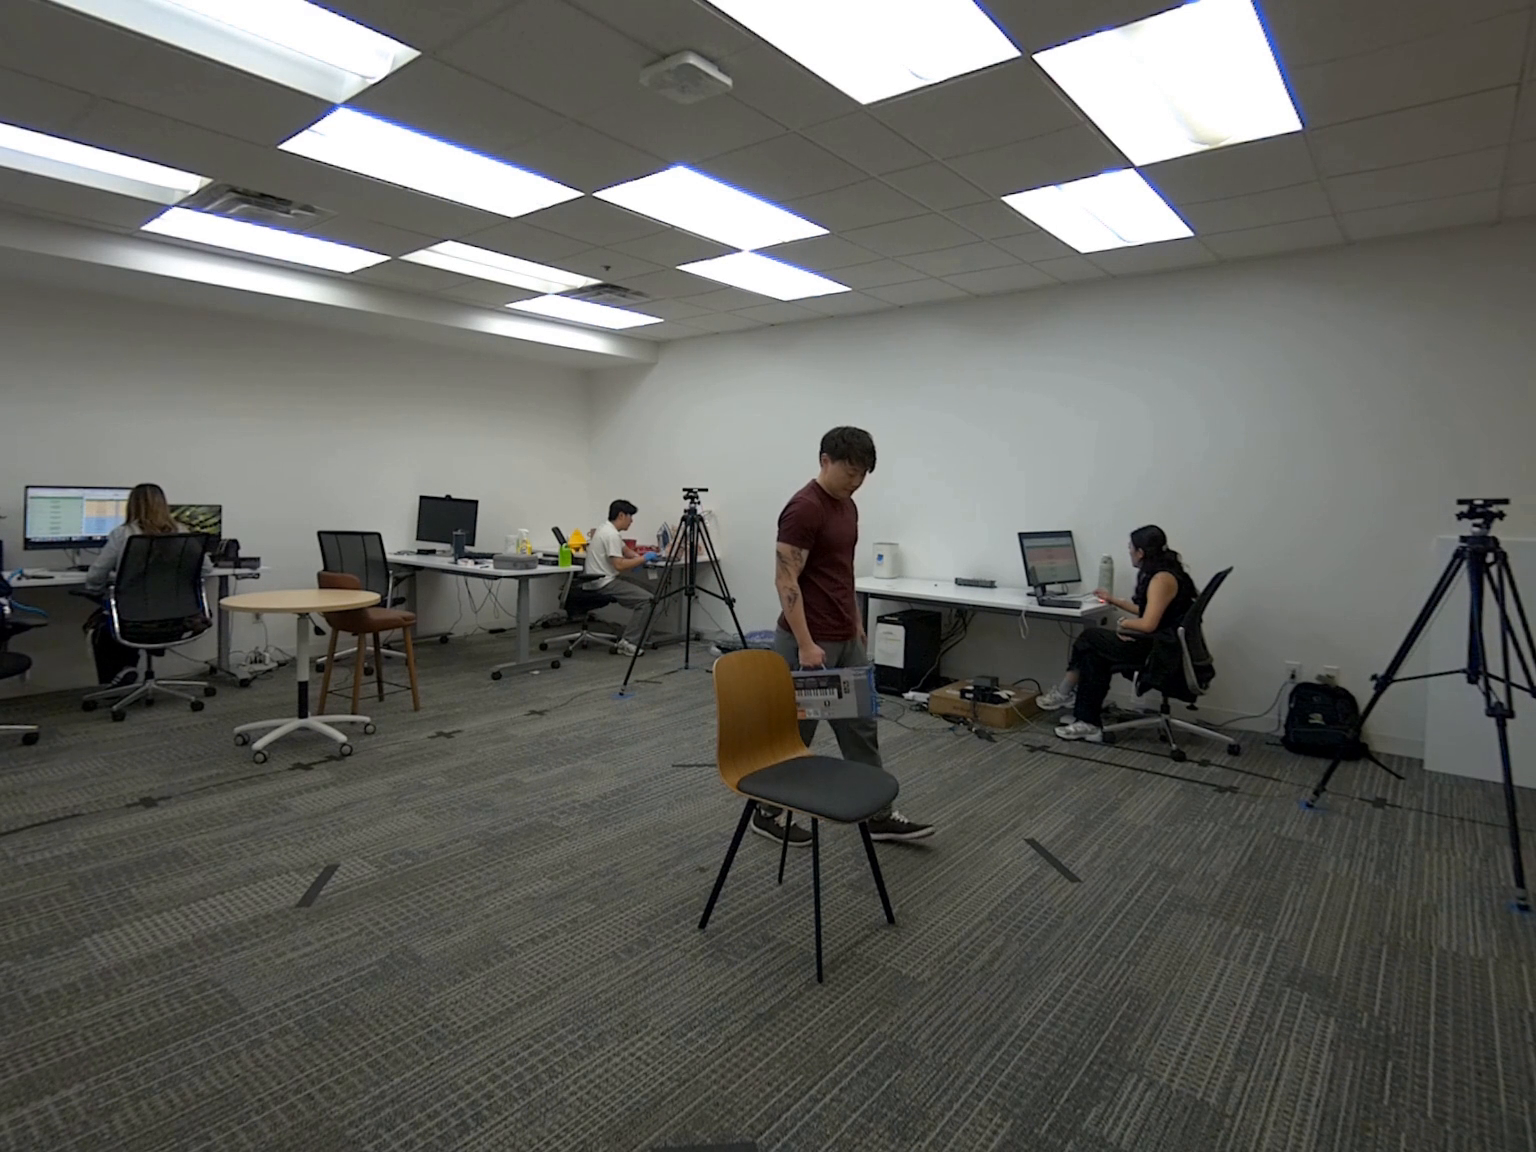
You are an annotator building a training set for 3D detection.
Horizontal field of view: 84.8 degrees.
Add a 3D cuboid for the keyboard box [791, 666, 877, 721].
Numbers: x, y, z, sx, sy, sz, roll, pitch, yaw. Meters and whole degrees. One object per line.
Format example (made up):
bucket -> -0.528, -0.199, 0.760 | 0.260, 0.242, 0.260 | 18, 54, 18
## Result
keyboard box -> 0.164, 0.426, 3.097 | 0.447, 0.177, 0.057 | -7, -3, 27
